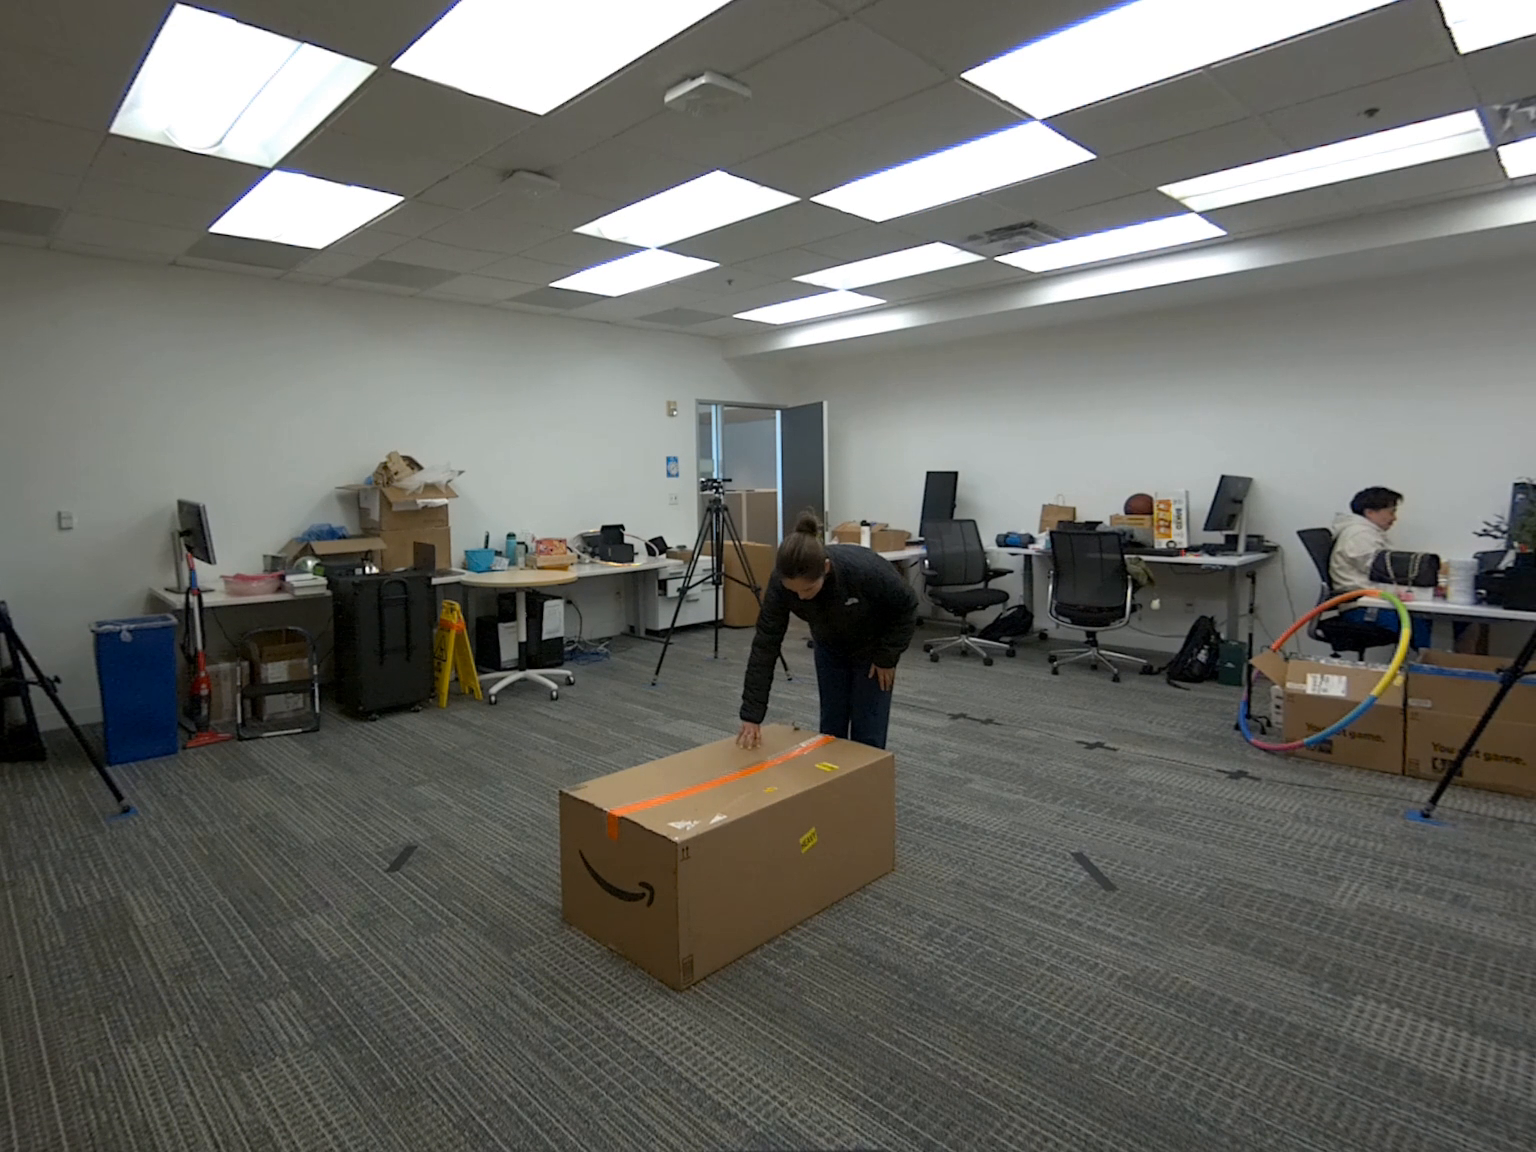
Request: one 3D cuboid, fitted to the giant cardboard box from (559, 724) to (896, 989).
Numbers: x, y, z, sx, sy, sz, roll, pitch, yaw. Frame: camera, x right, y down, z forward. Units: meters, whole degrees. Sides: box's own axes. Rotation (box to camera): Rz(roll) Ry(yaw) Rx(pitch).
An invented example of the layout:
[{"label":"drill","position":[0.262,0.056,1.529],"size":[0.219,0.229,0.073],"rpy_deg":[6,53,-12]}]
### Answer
[{"label":"giant cardboard box","position":[-0.107,0.863,2.886],"size":[0.601,0.445,1.001],"rpy_deg":[3,7,44]}]
